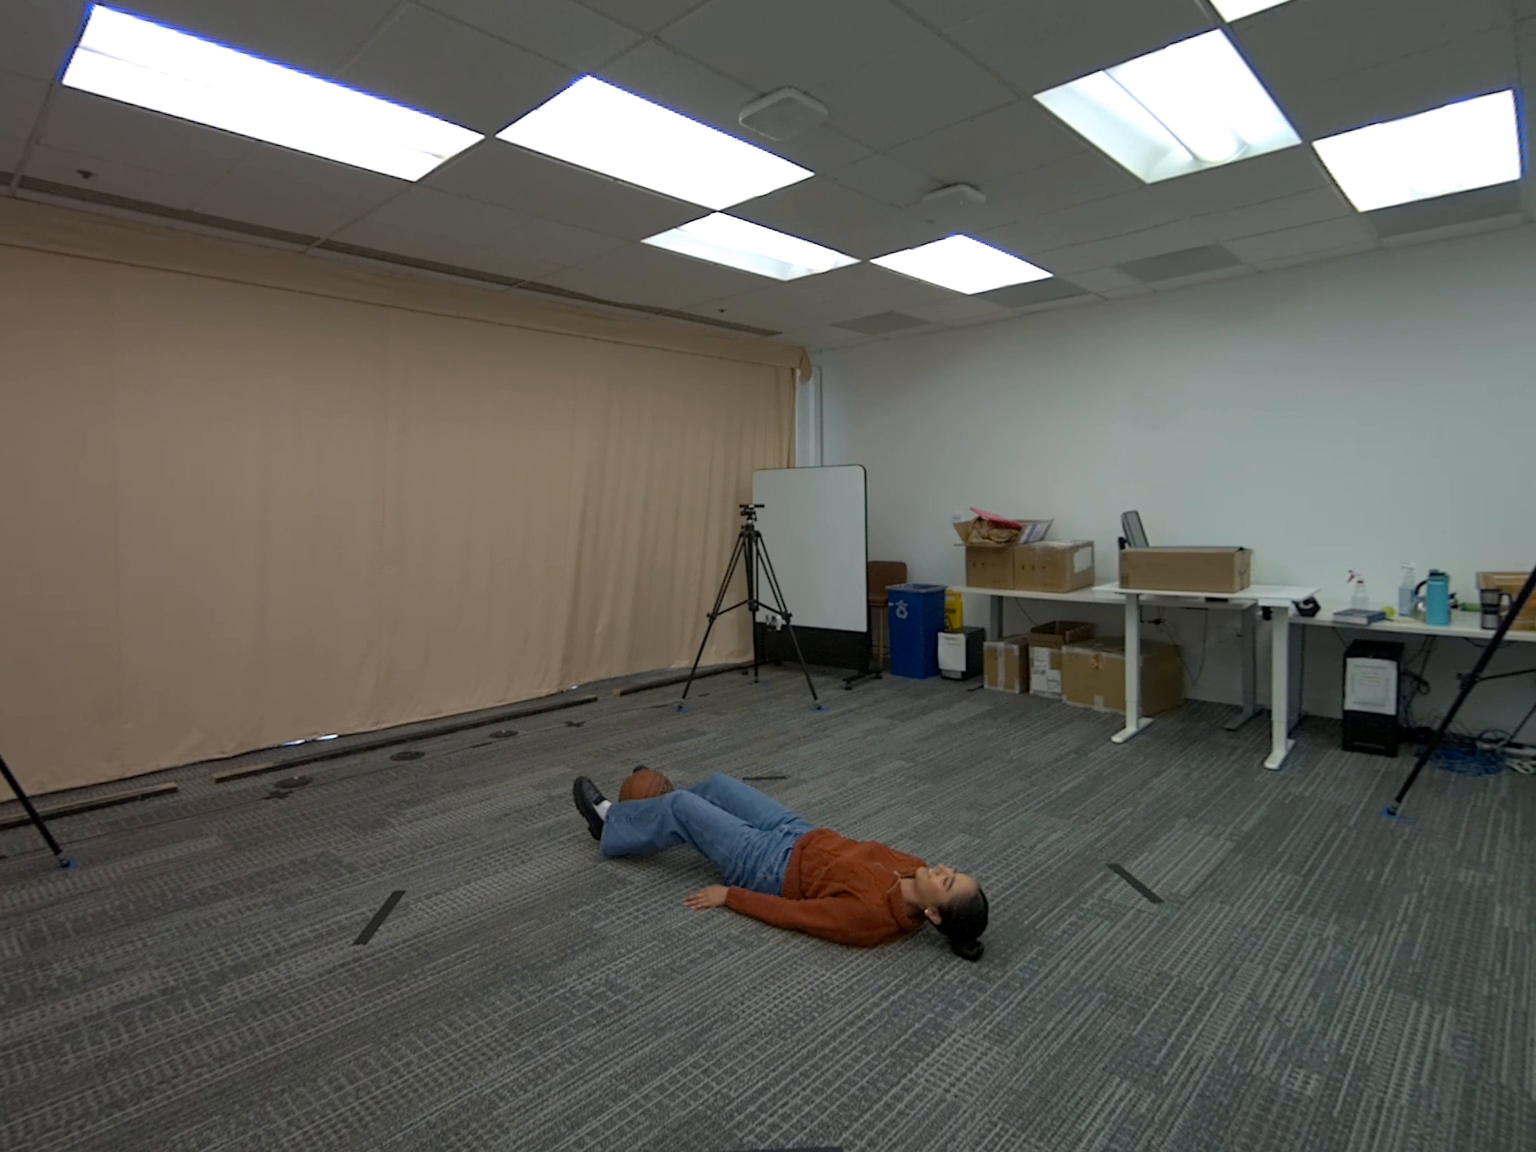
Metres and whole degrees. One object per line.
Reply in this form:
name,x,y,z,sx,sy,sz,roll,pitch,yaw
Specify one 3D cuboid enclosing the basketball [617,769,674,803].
basketball,-0.498,0.918,3.491,0.236,0.235,0.237,-1,4,-2
